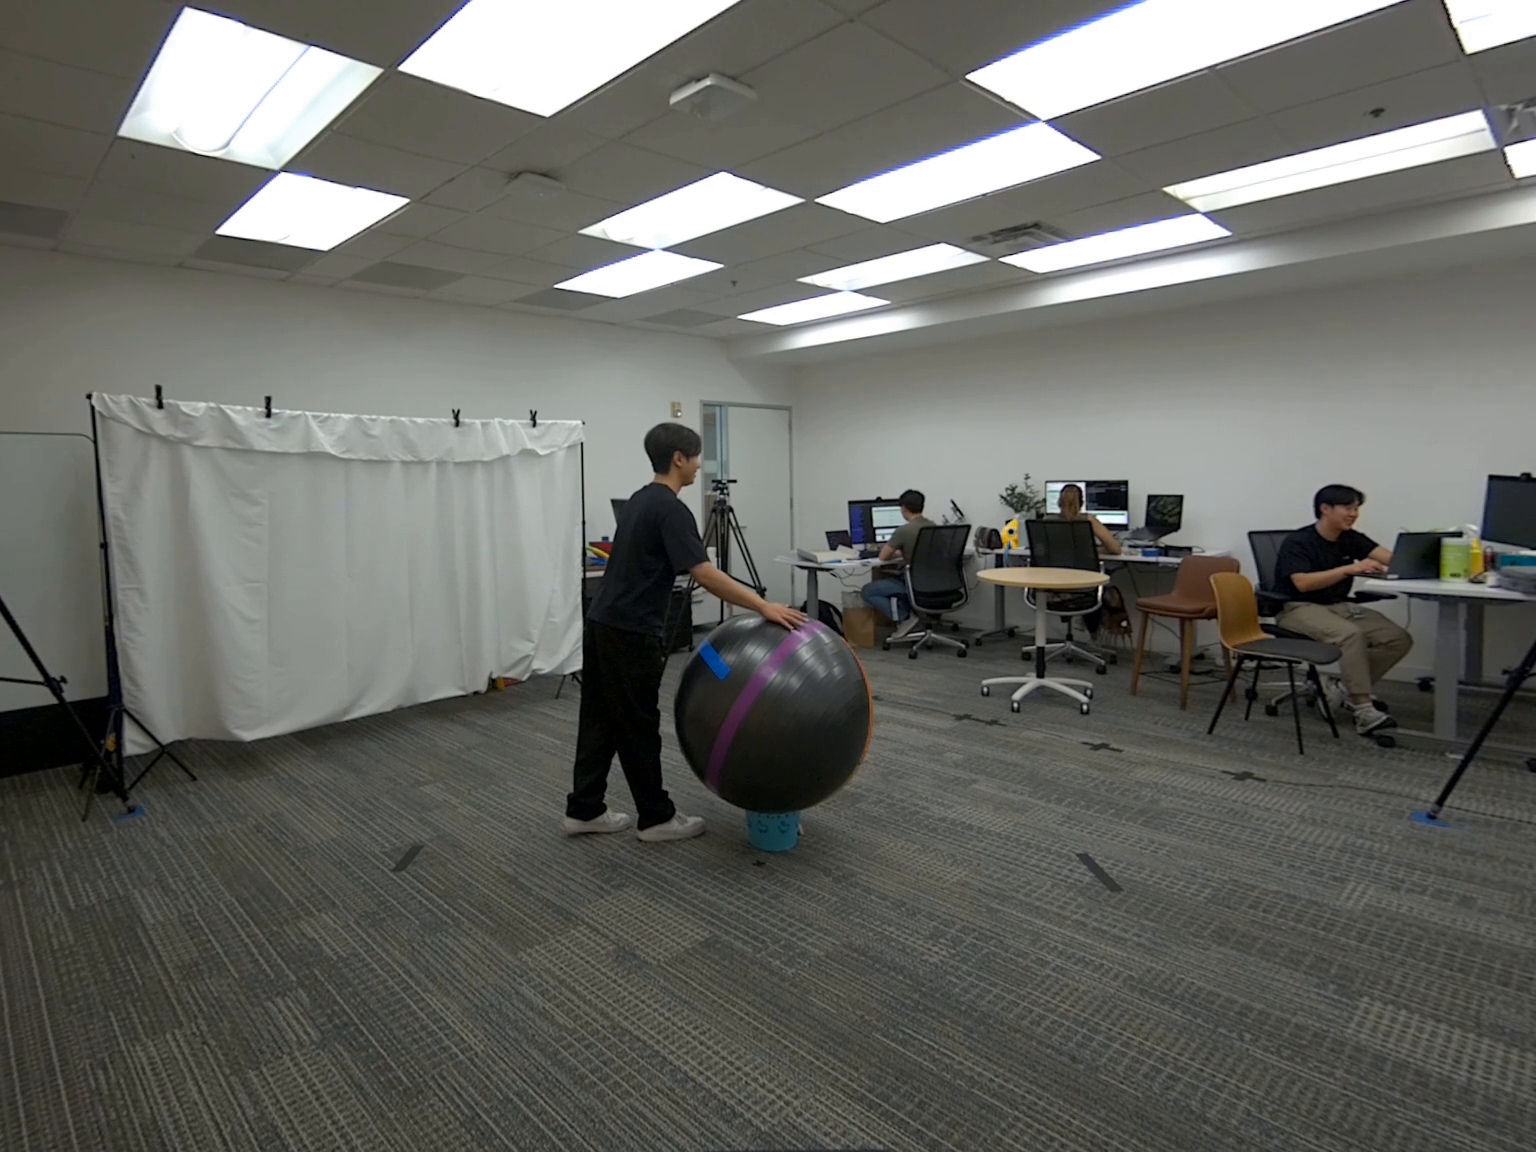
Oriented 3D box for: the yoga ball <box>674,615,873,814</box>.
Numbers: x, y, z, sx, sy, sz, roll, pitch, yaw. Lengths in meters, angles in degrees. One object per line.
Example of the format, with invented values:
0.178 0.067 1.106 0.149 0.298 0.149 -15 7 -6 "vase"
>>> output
0.026 0.514 3.274 0.757 0.755 0.762 -1 5 -2 "yoga ball"
